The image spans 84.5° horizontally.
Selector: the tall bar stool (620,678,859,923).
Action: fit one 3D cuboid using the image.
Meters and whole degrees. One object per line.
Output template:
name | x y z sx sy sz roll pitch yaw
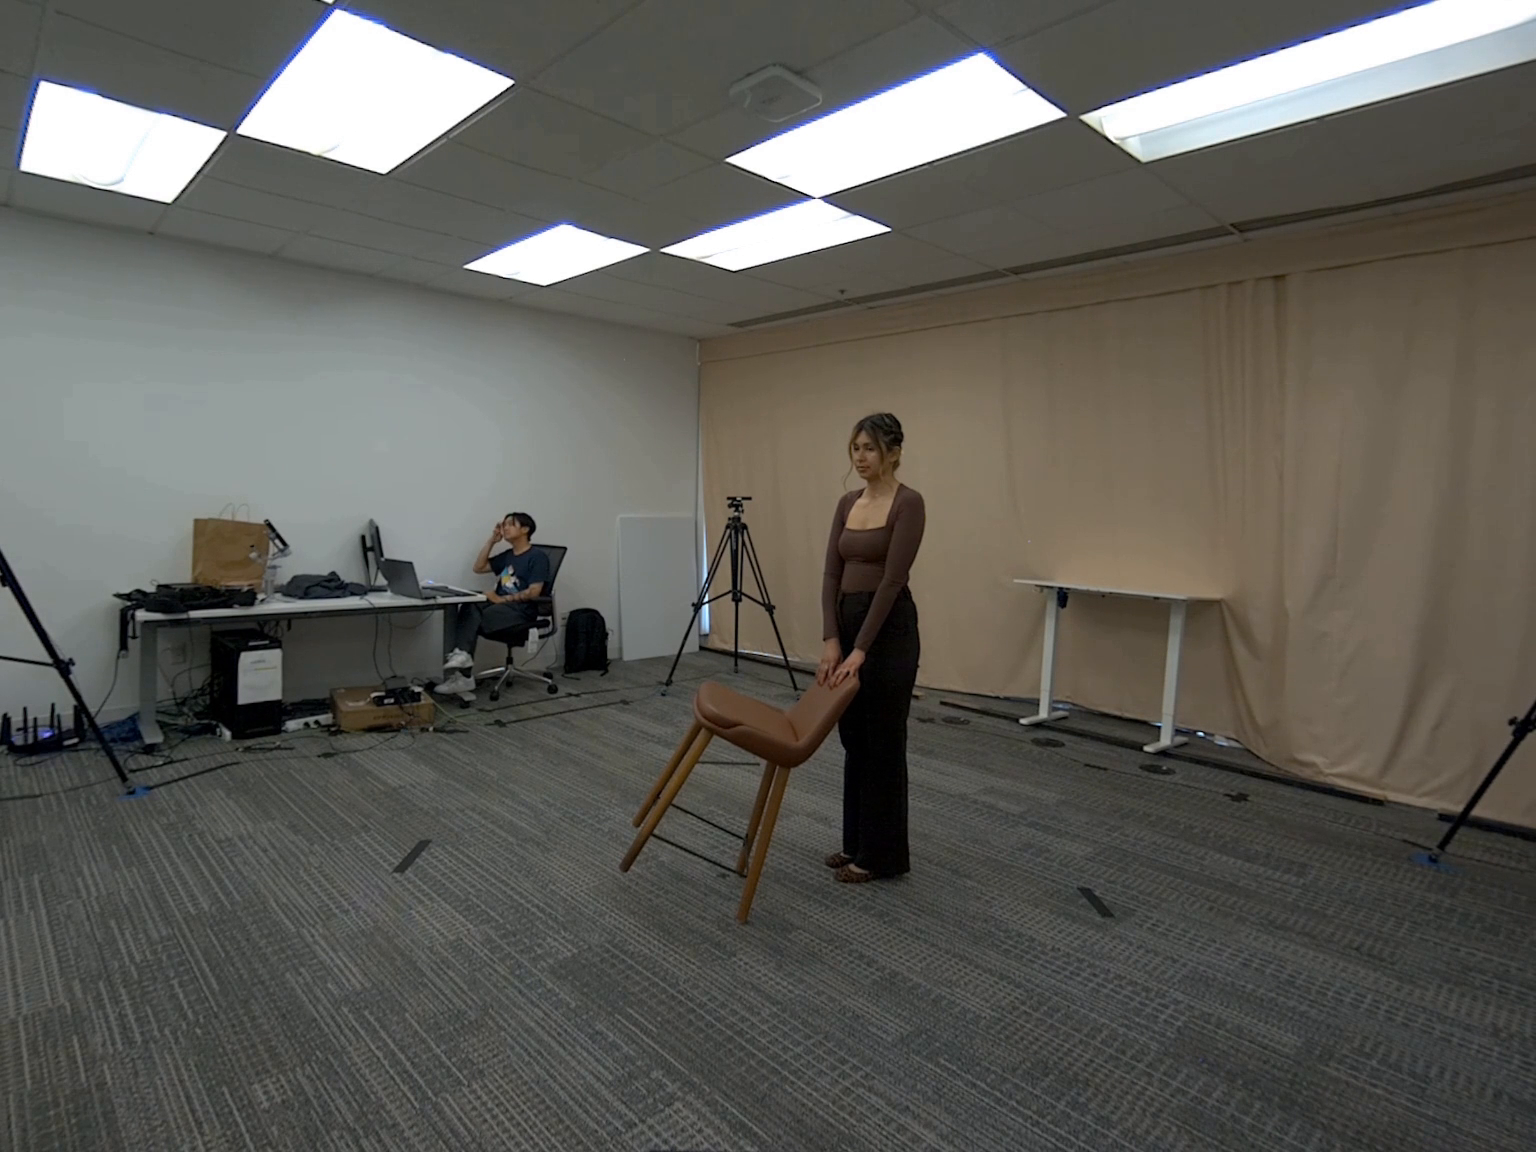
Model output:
tall bar stool | -0.099 0.642 2.904 0.467 0.889 0.458 27 3 -3
